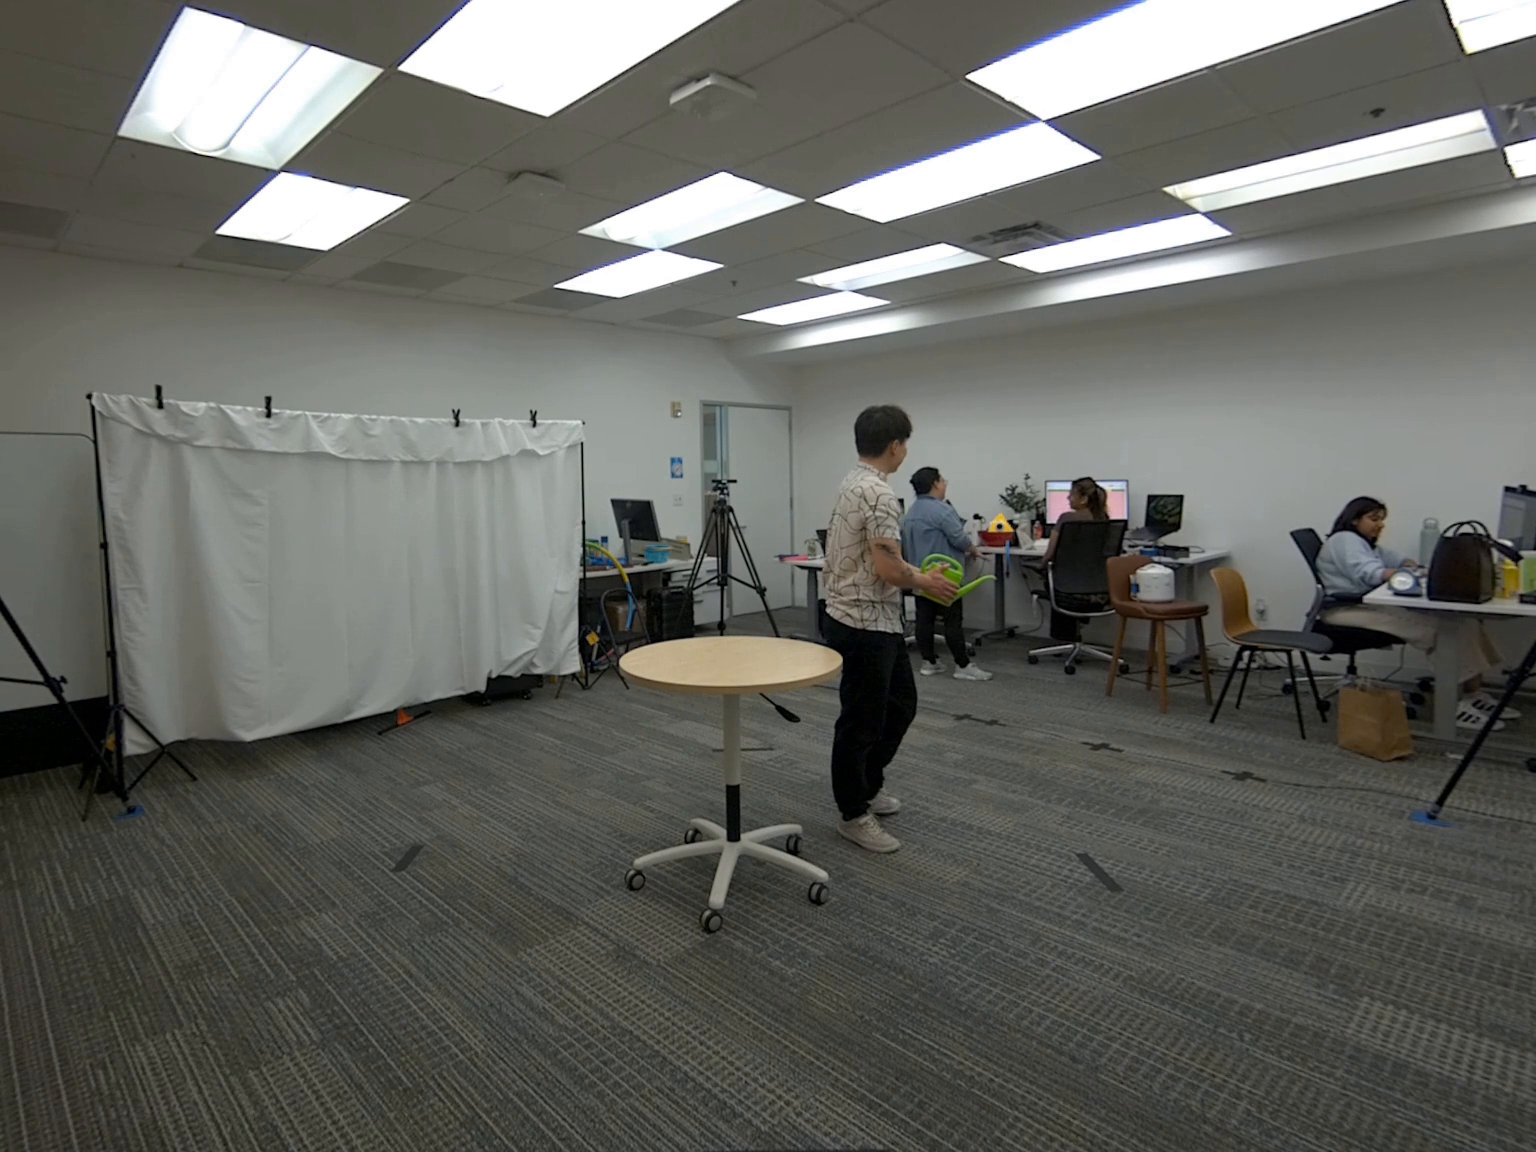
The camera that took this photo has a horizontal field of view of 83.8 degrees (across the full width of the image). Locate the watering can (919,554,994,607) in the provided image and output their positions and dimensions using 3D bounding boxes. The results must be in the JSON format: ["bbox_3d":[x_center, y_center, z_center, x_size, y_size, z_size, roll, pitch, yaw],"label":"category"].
[{"bbox_3d":[0.719,0.031,3.282,0.282,0.176,0.097,22,4,10],"label":"watering can"}]
